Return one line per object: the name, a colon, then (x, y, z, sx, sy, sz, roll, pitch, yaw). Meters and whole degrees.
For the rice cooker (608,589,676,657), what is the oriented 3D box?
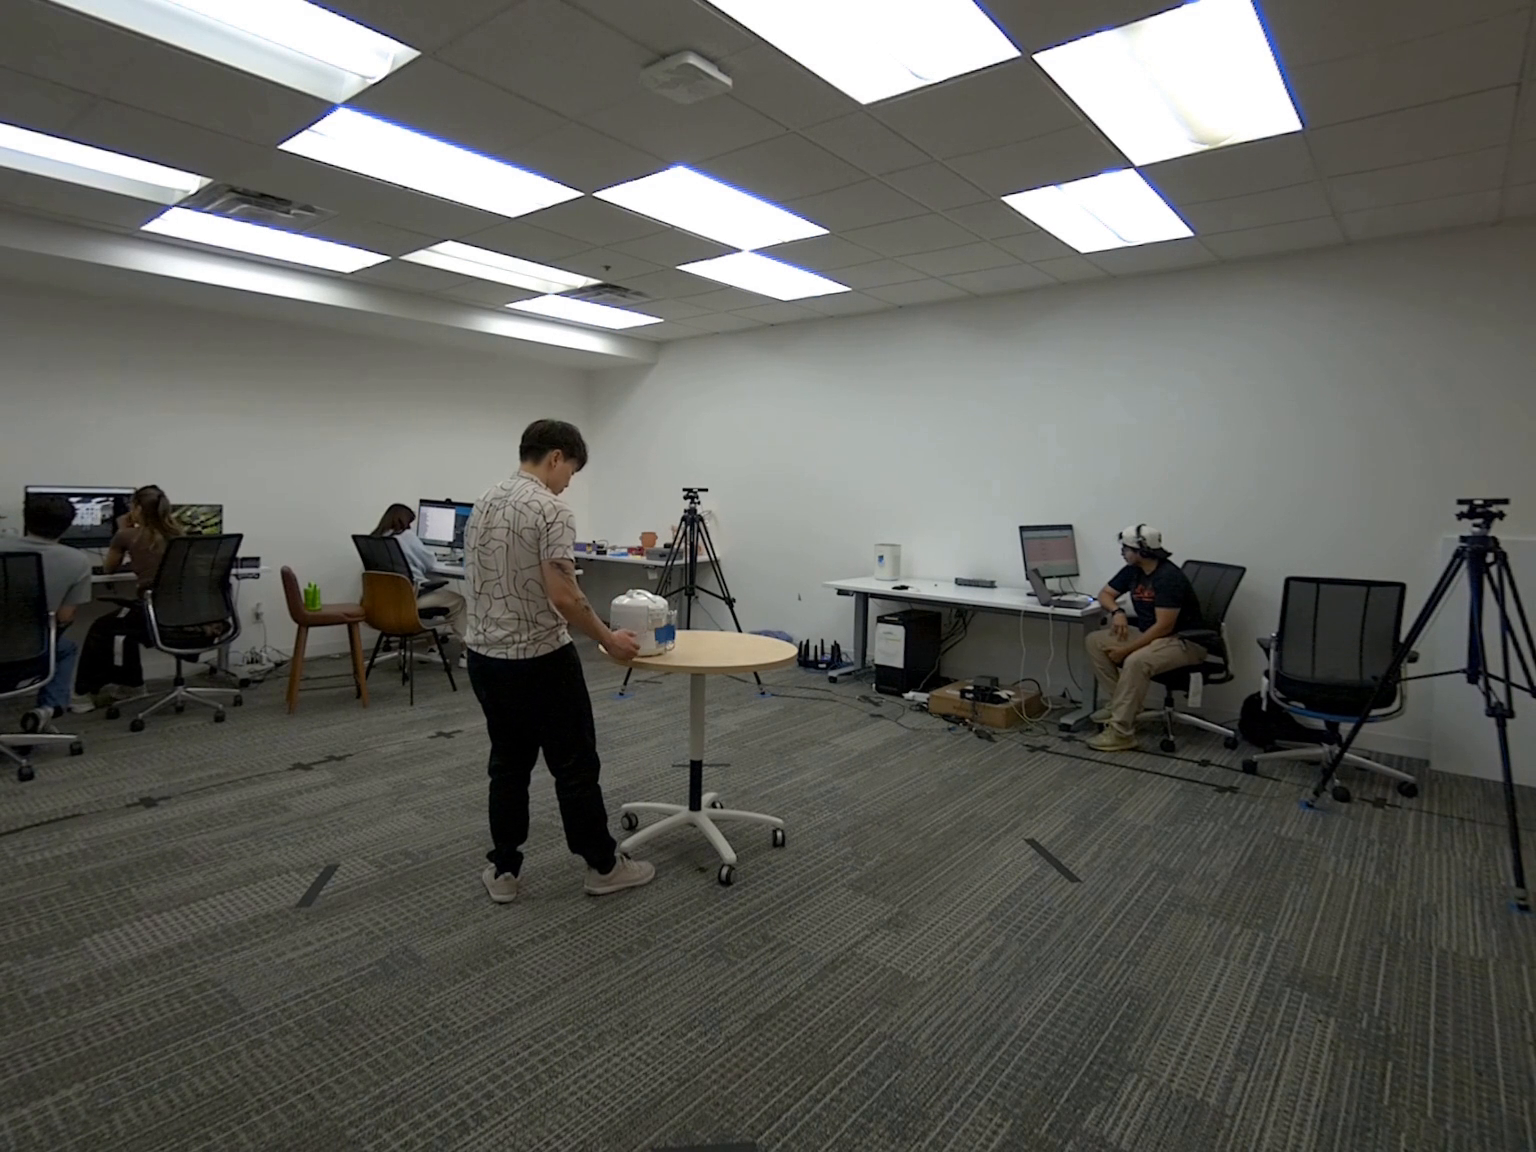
rice cooker: (-0.480, 0.166, 3.111, 0.211, 0.232, 0.228, -1, 5, -42)
